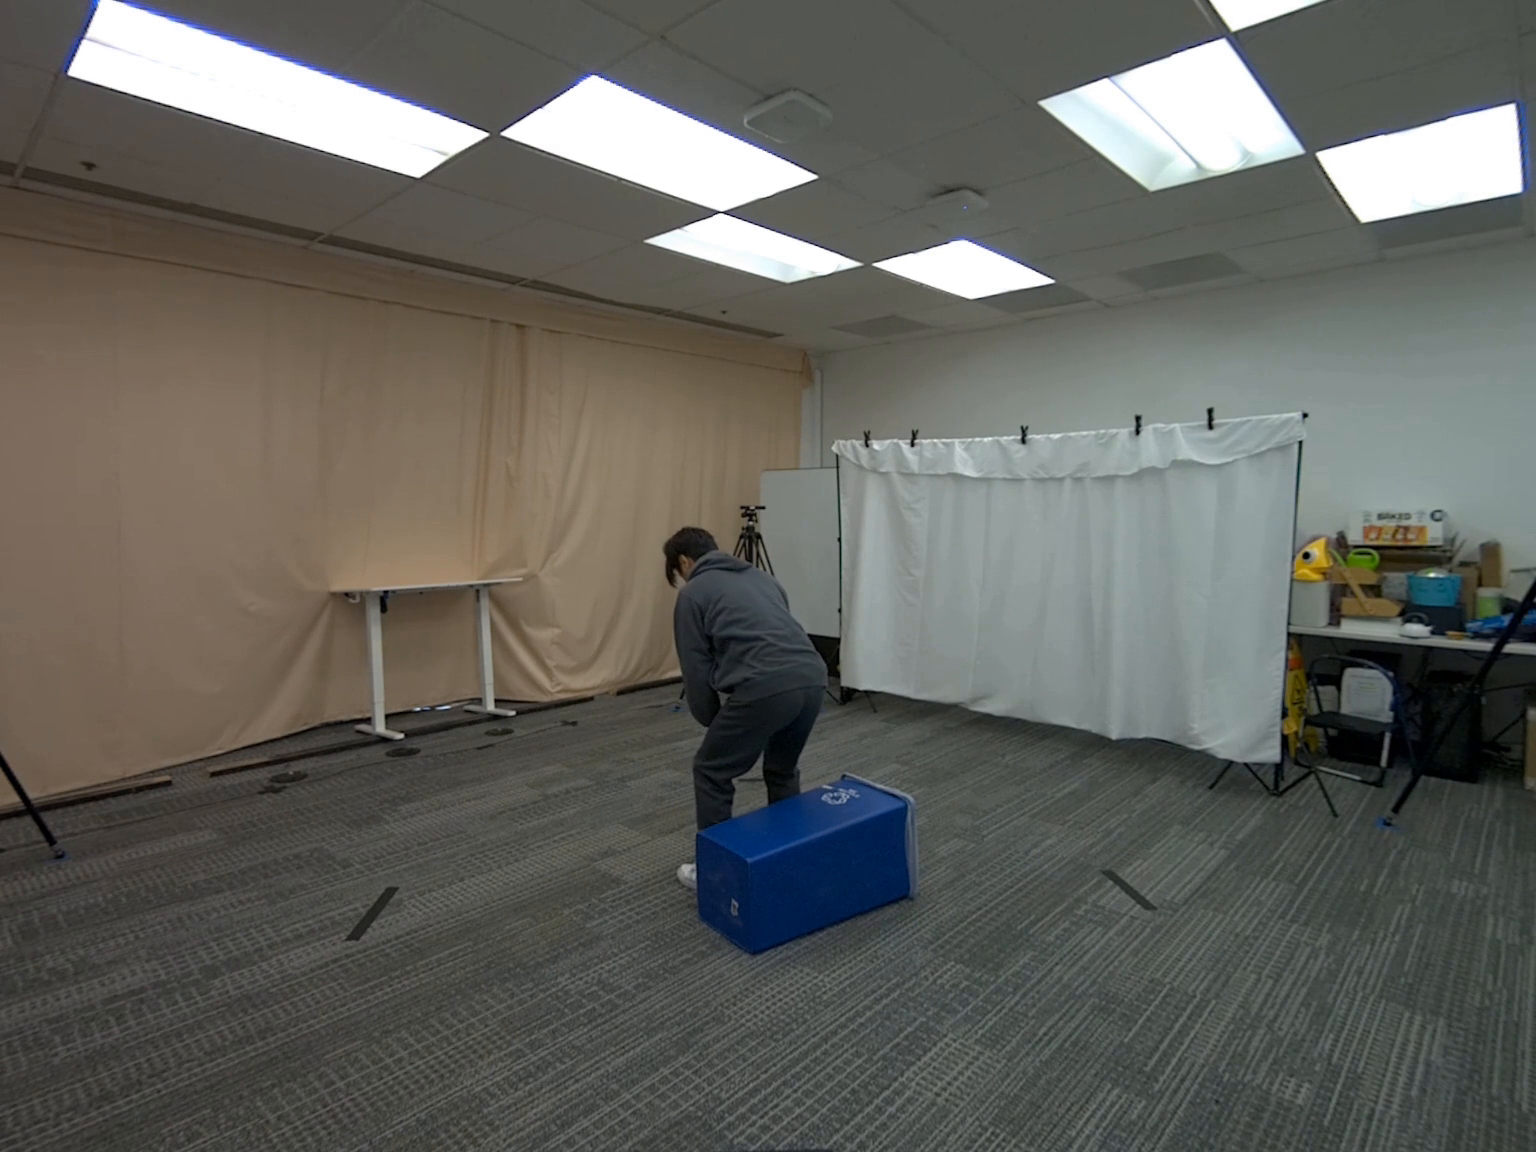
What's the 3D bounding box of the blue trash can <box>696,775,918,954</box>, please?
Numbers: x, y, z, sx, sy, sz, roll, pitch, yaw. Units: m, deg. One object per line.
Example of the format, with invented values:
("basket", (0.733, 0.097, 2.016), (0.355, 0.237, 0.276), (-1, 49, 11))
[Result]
("blue trash can", (0.144, 0.981, 2.901), (0.693, 0.377, 0.386), (-7, 7, -36))
